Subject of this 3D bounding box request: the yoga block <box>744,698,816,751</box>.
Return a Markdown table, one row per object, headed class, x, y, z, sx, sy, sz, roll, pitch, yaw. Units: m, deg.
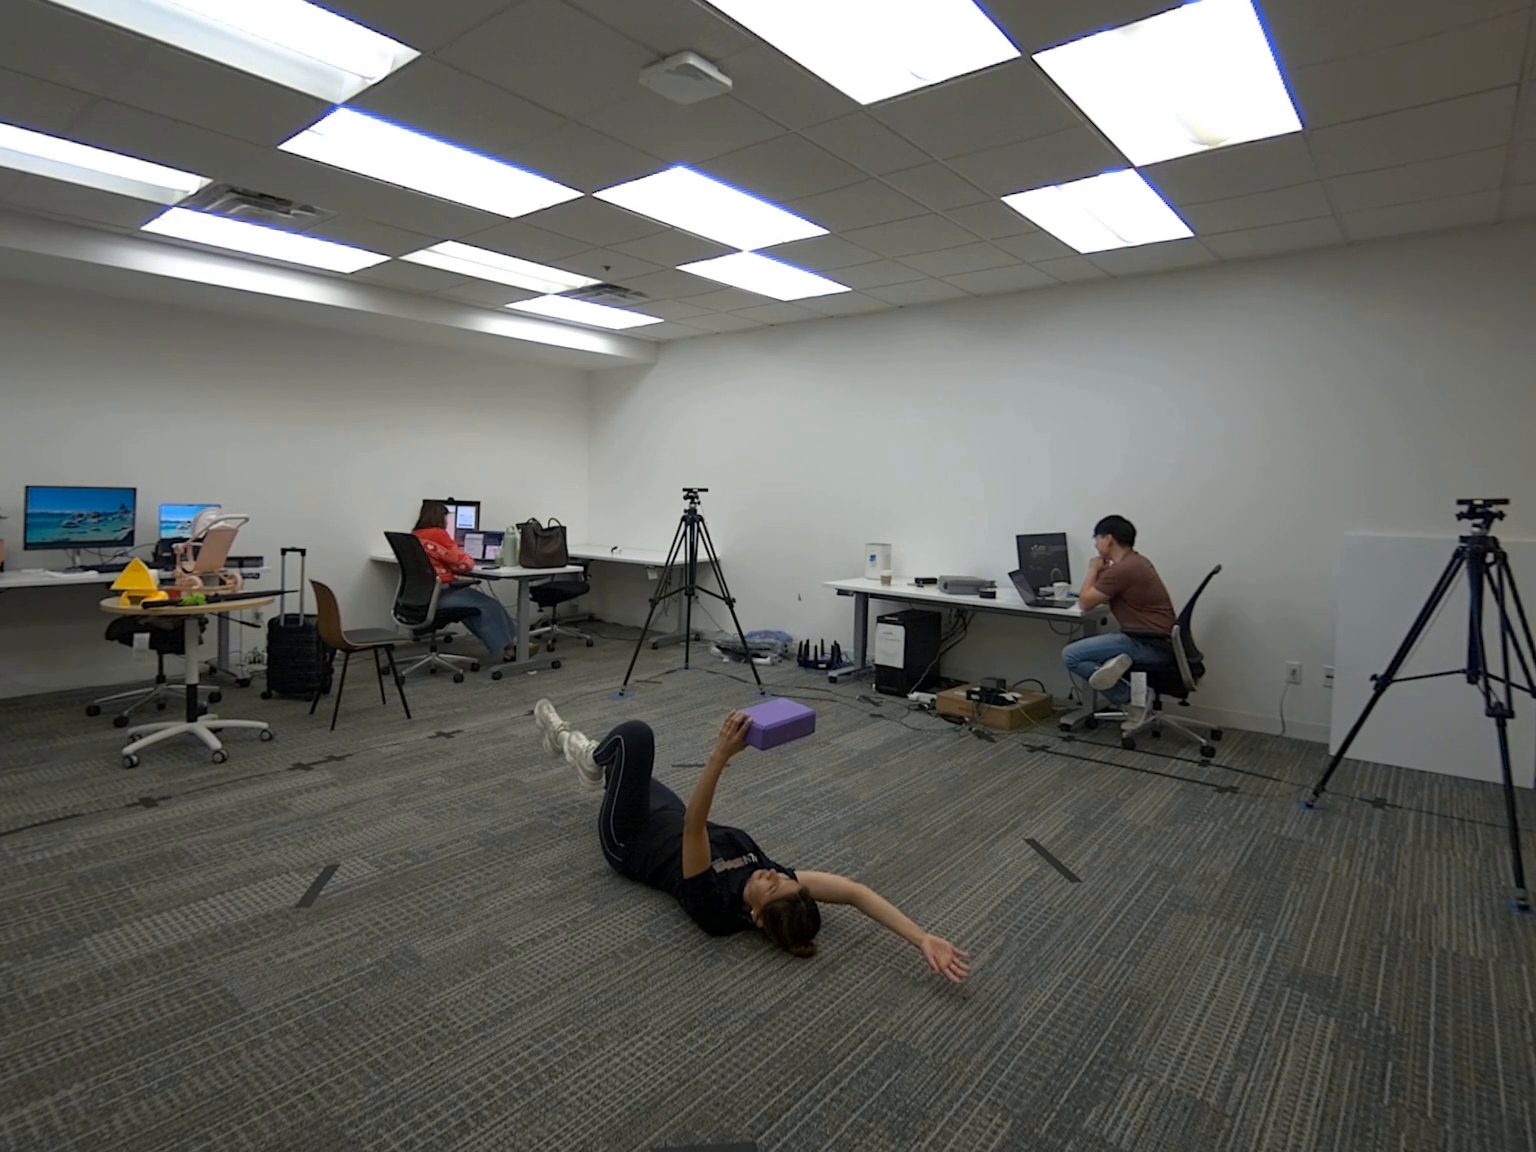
| class | x | y | z | sx | sy | sz | roll | pitch | yaw |
| --- | --- | --- | --- | --- | --- | --- | --- | --- | --- |
| yoga block | 0.013 | 0.439 | 2.533 | 0.223 | 0.076 | 0.154 | -6 | 14 | -36 |
